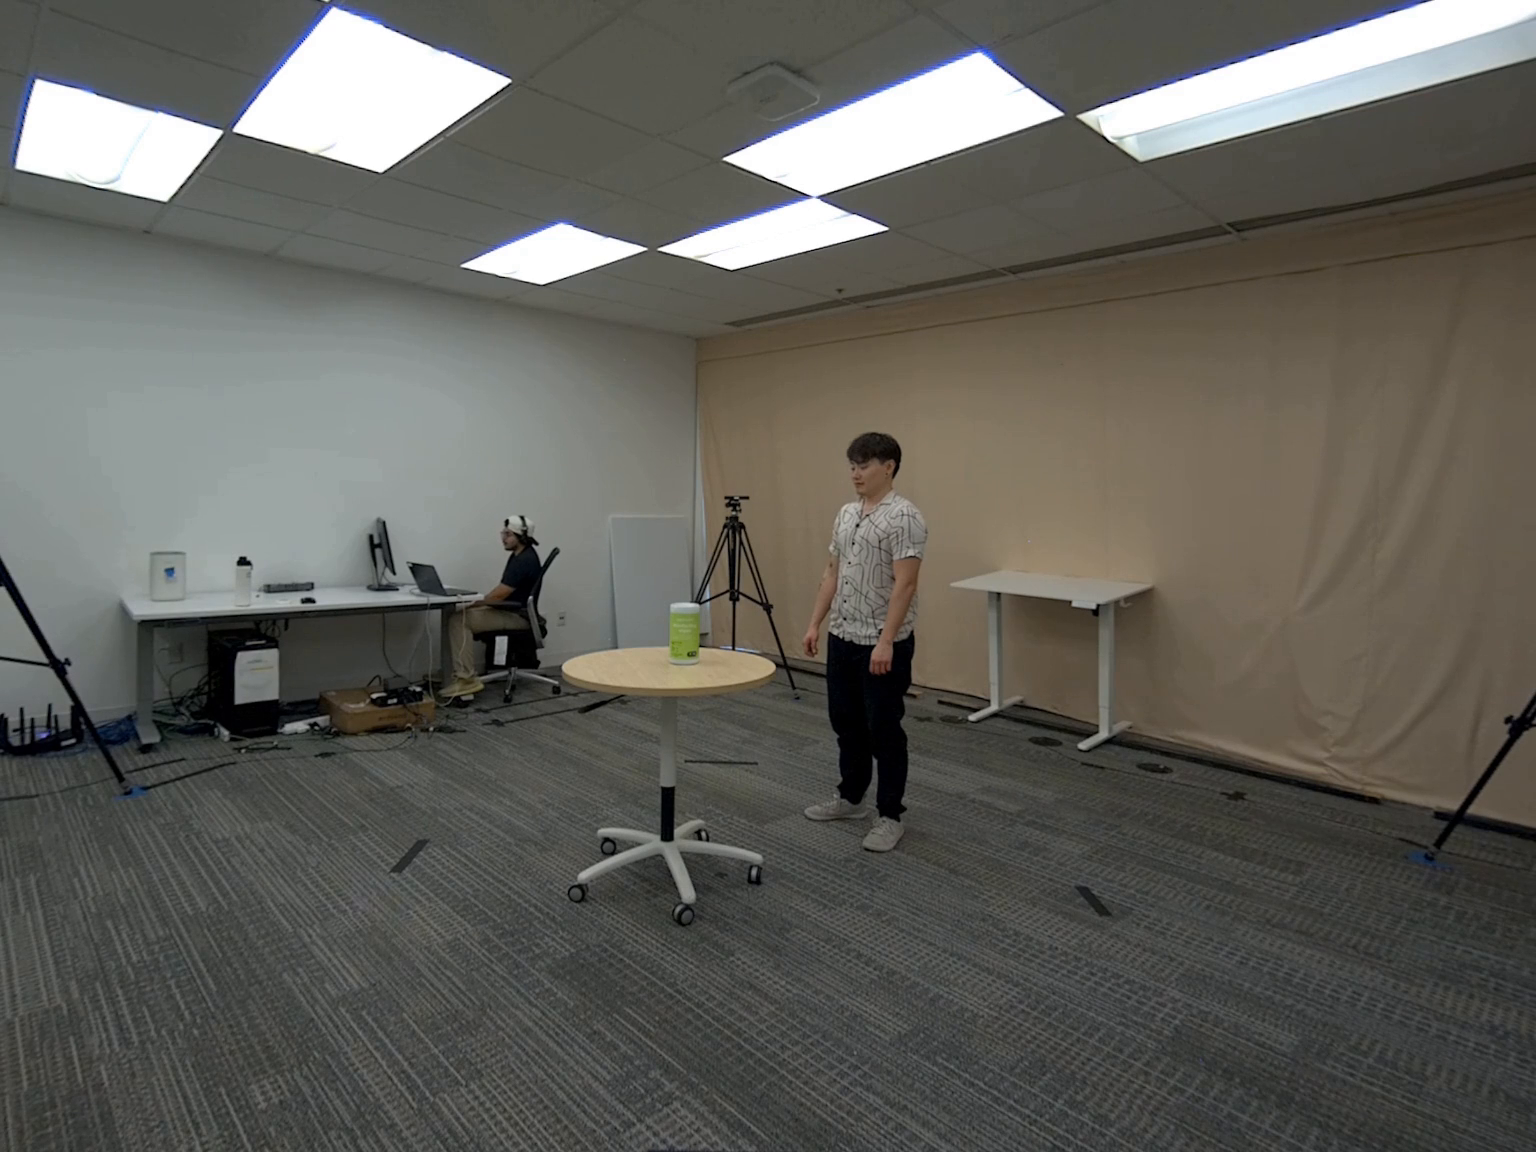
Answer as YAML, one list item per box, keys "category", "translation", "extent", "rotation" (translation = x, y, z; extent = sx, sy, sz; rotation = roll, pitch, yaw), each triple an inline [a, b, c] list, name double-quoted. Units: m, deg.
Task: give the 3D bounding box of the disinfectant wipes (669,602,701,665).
- category: "disinfectant wipes"
  translation: [-0.316, 0.214, 3.082]
  extent: [0.118, 0.217, 0.118]
  rotation: [2, 5, -2]
